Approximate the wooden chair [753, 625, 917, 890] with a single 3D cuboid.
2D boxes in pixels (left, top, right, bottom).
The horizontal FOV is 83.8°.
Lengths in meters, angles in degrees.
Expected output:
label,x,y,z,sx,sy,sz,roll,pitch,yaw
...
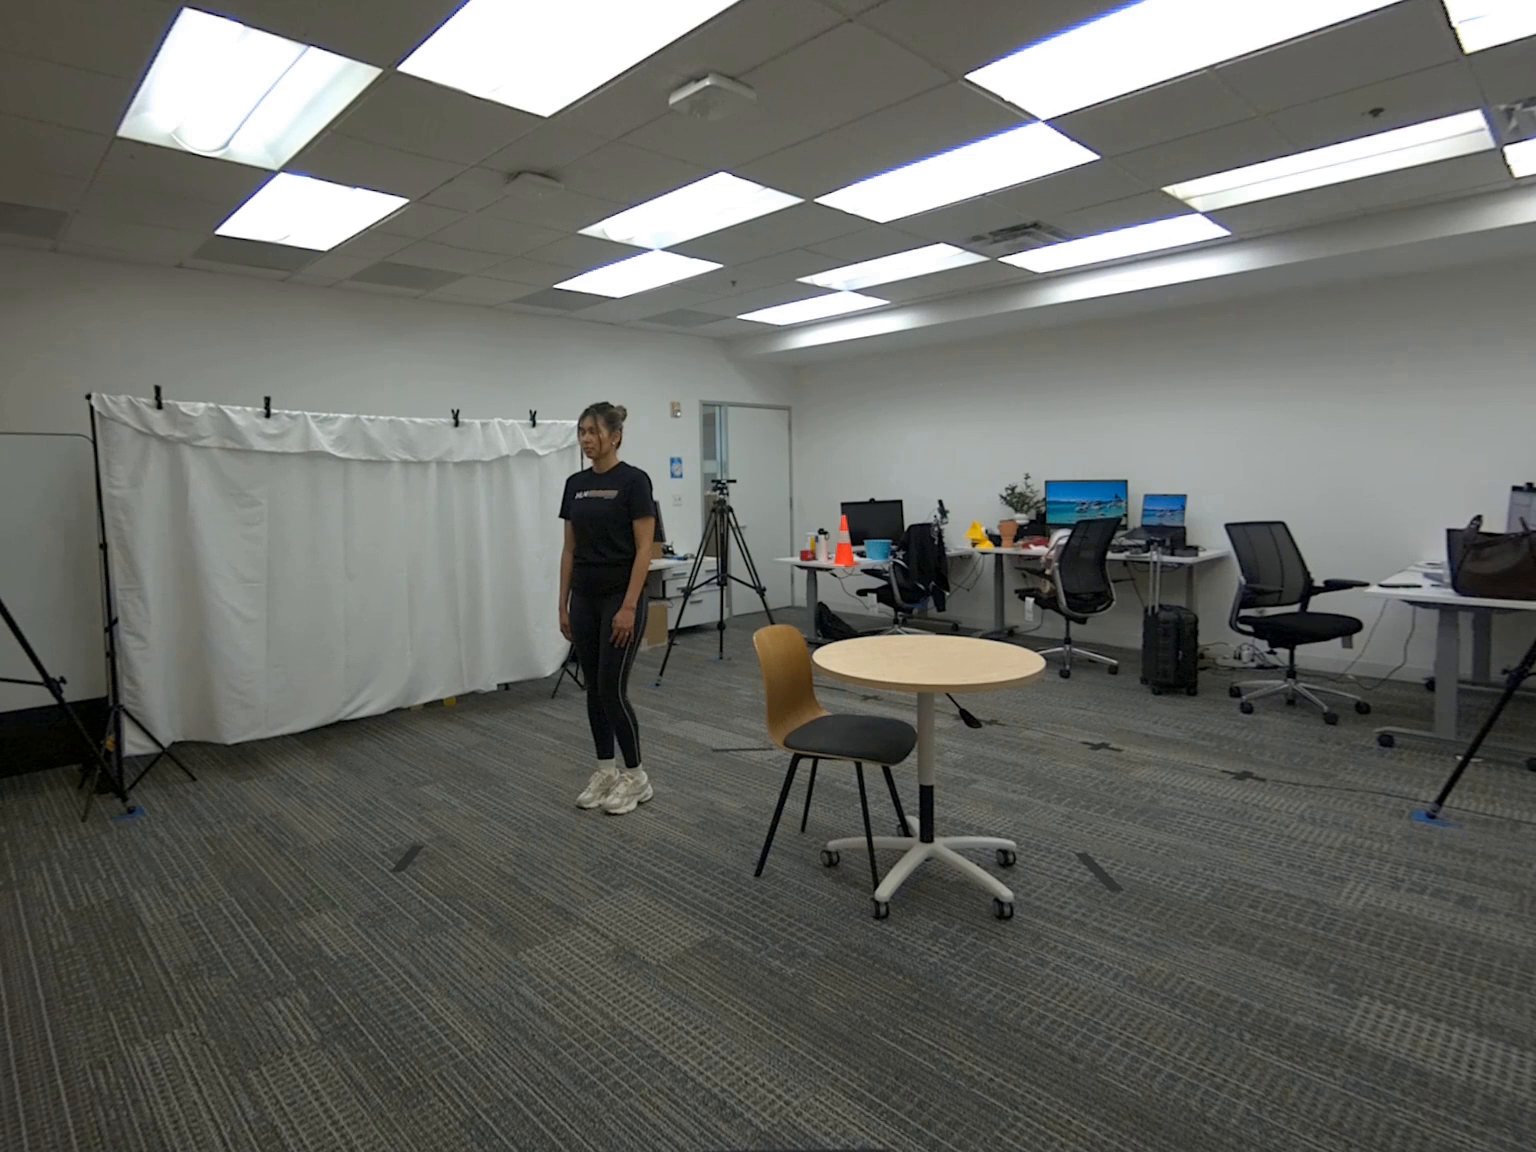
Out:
label,x,y,z,sx,sy,sz,roll,pitch,yaw
wooden chair,0.249,0.618,3.065,0.535,0.876,0.468,-3,2,27
